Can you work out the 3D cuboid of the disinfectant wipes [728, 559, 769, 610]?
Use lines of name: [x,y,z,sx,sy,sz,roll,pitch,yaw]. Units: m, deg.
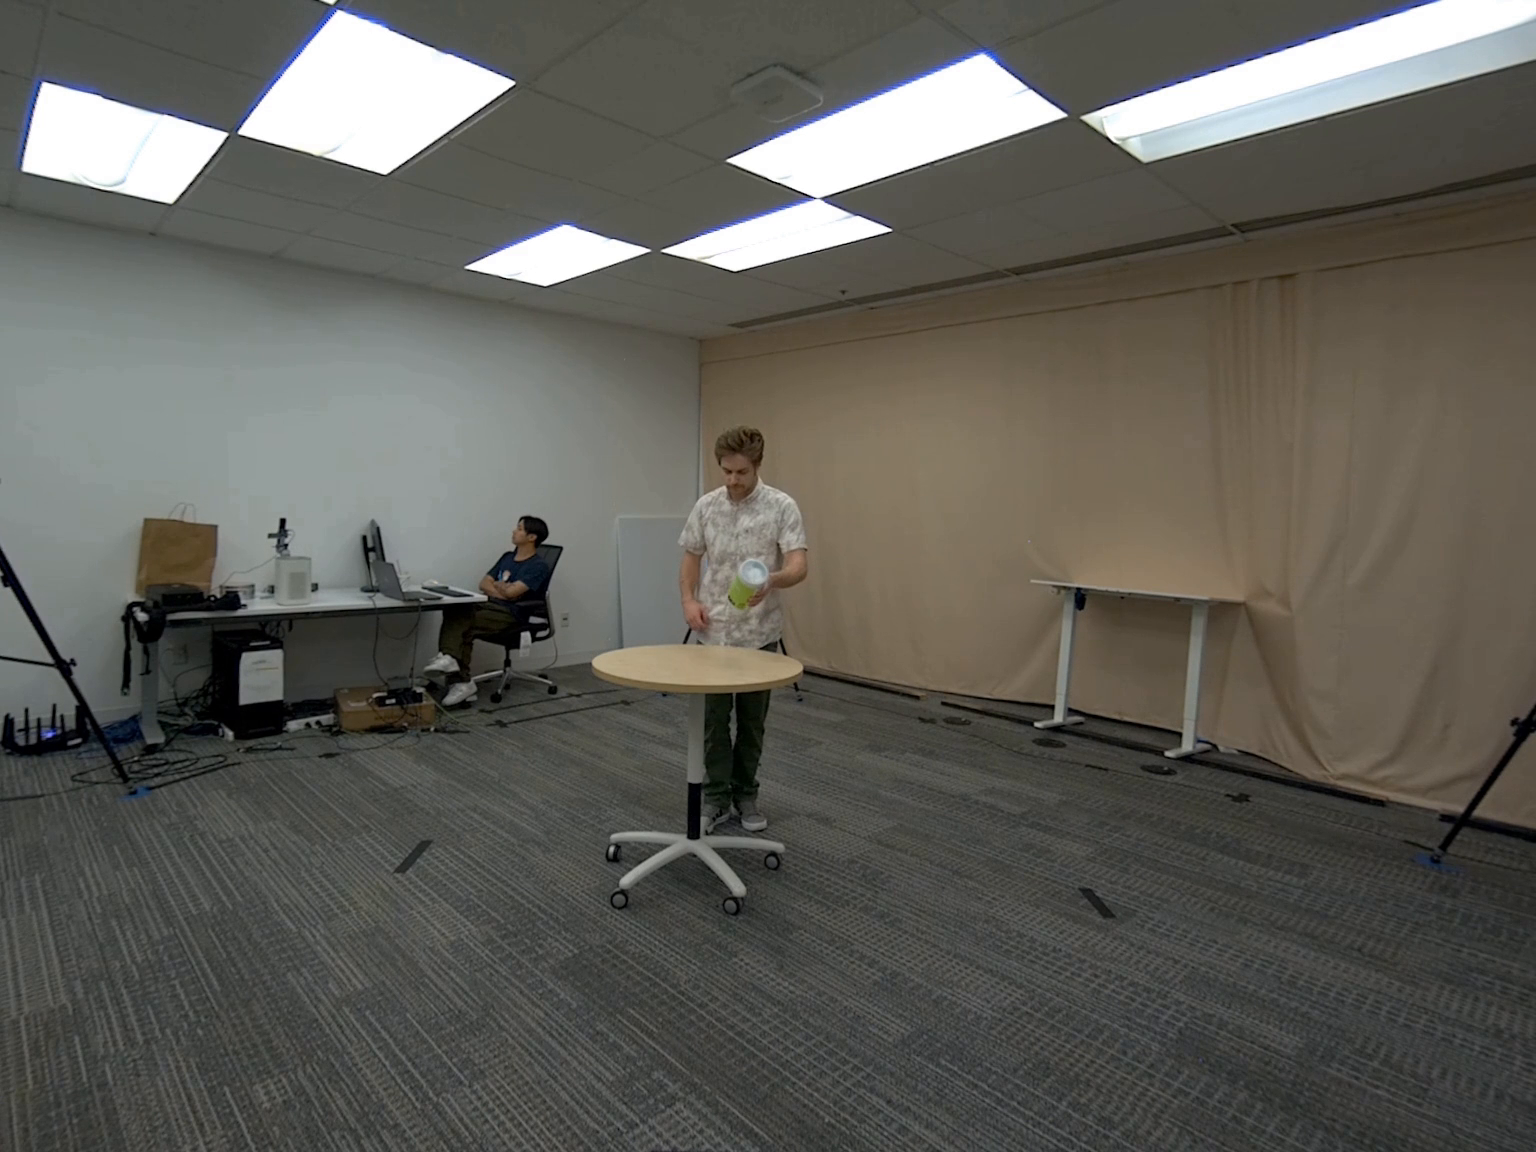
disinfectant wipes: [-0.083,0.039,3.086,0.116,0.120,0.215,1,-30,-16]
